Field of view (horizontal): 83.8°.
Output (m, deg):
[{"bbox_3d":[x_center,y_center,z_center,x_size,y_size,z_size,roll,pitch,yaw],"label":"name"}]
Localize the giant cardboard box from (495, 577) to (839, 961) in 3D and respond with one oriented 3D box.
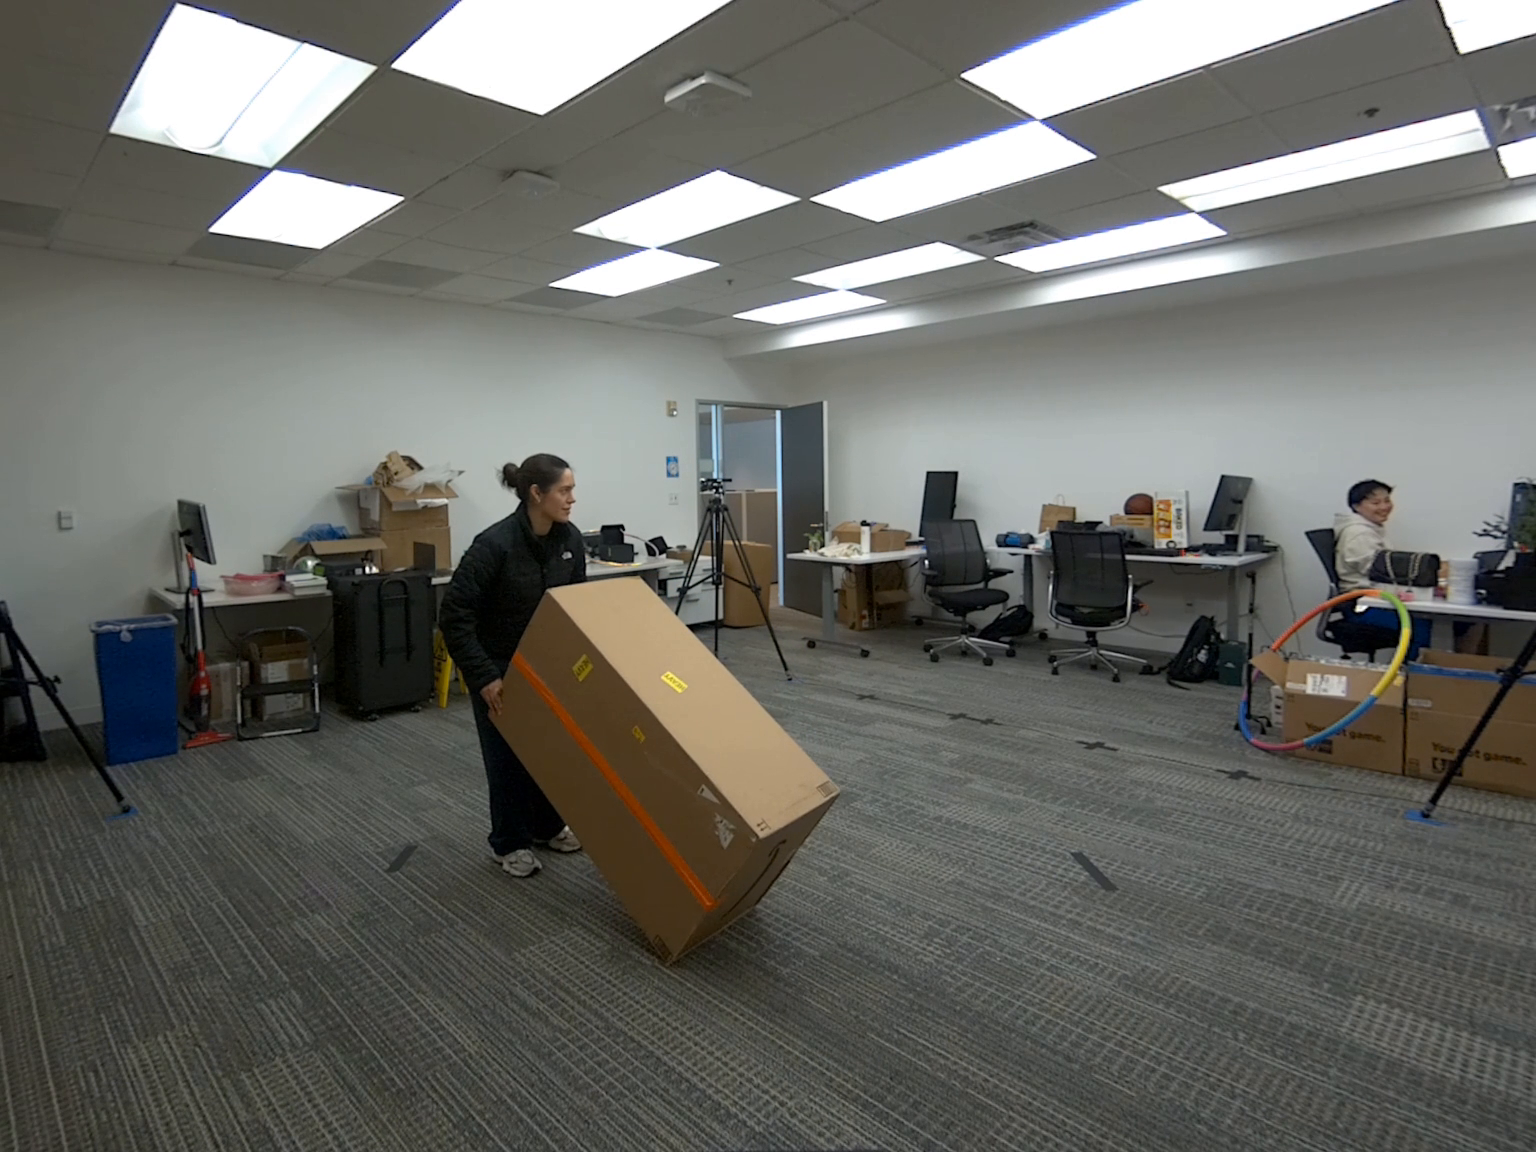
[{"bbox_3d":[-0.373,0.558,2.750,1.060,0.579,0.436,43,28,26],"label":"giant cardboard box"}]
